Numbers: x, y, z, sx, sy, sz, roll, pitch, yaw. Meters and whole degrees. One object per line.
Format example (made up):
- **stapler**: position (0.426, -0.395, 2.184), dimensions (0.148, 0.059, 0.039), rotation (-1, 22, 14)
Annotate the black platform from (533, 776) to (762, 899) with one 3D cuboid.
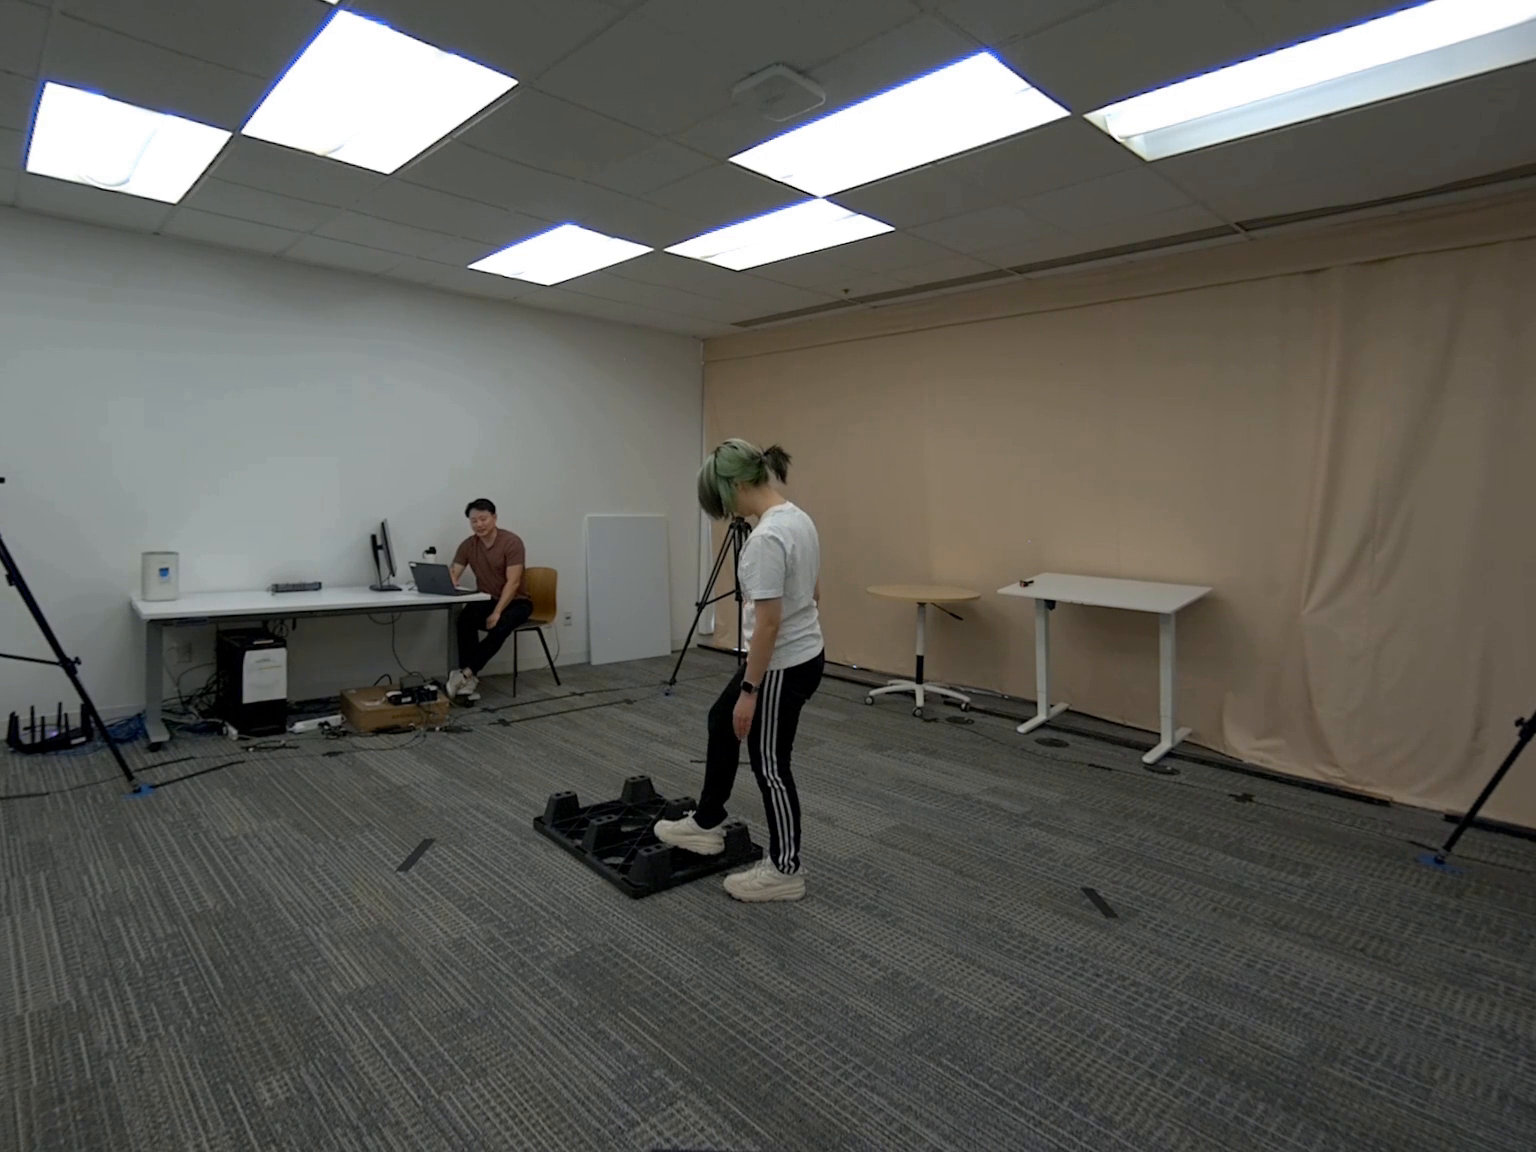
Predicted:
- **black platform**: position (-0.496, 1.006, 3.383), dimensions (0.592, 0.143, 0.826), rotation (-4, 7, -40)
